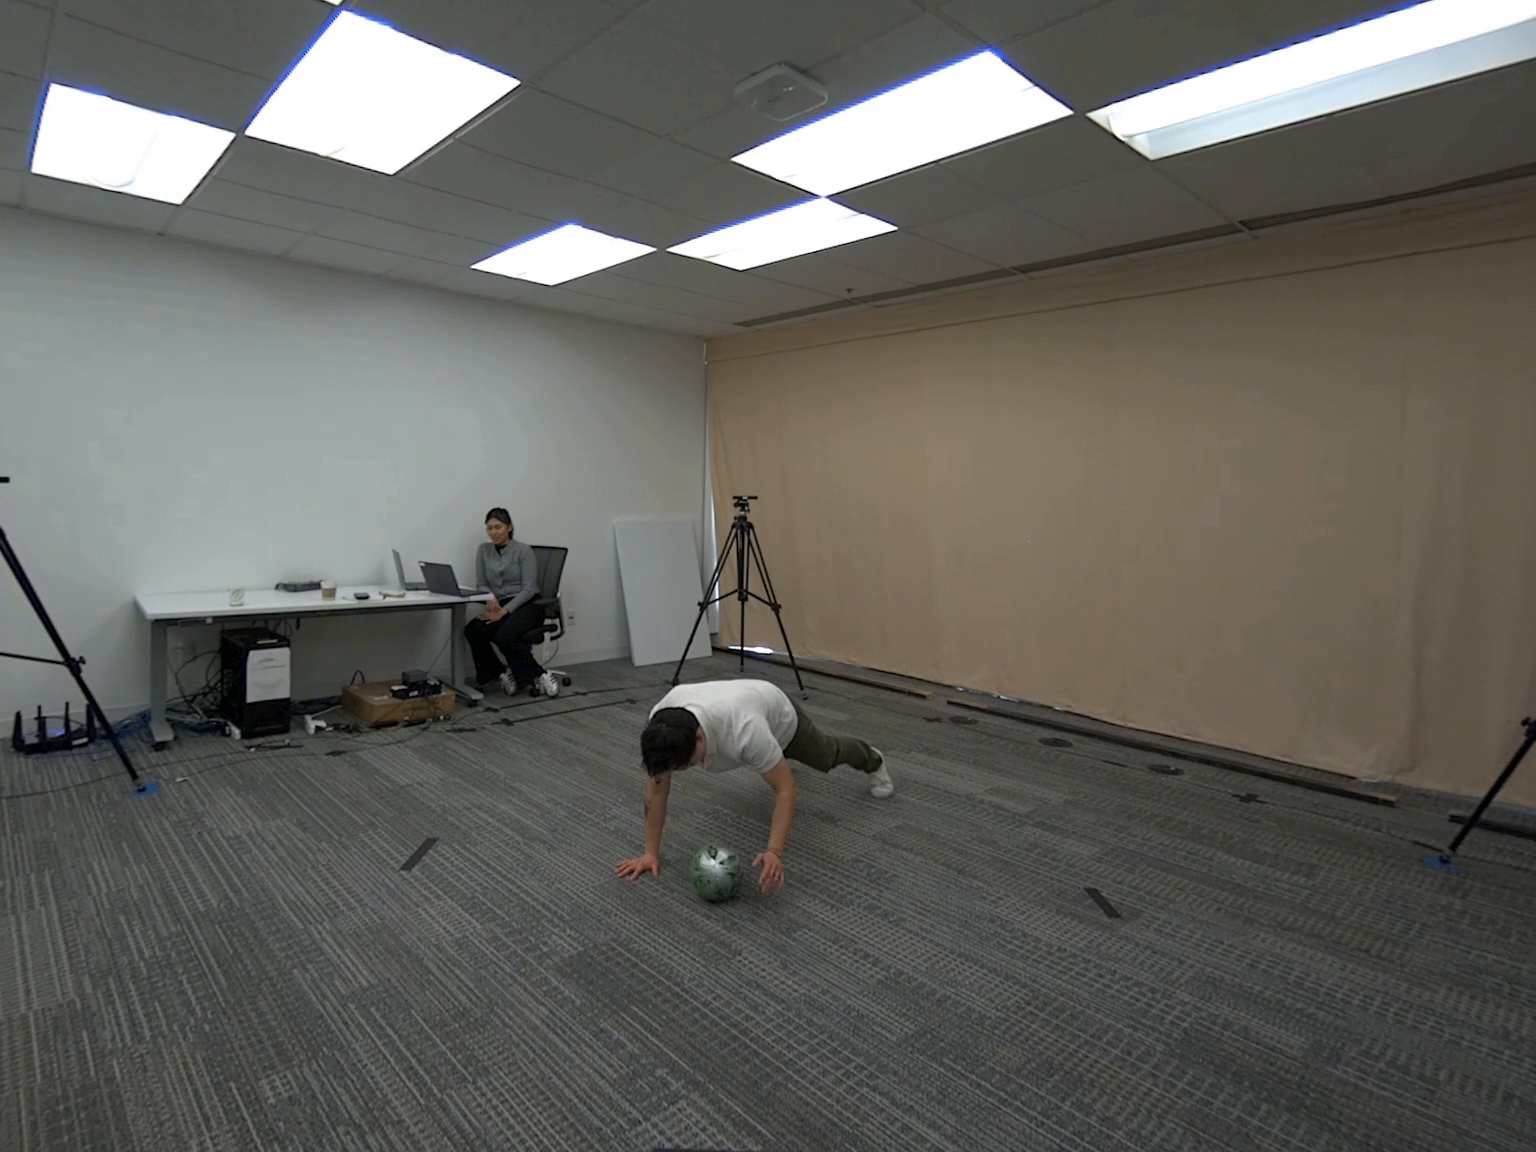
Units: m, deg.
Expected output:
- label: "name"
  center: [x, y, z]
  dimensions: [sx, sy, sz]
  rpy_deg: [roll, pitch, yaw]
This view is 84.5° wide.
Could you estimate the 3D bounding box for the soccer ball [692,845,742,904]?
- label: "soccer ball"
  center: [-0.192, 1.024, 2.916]
  dimensions: [0.187, 0.187, 0.188]
  rpy_deg: [1, 4, -1]
